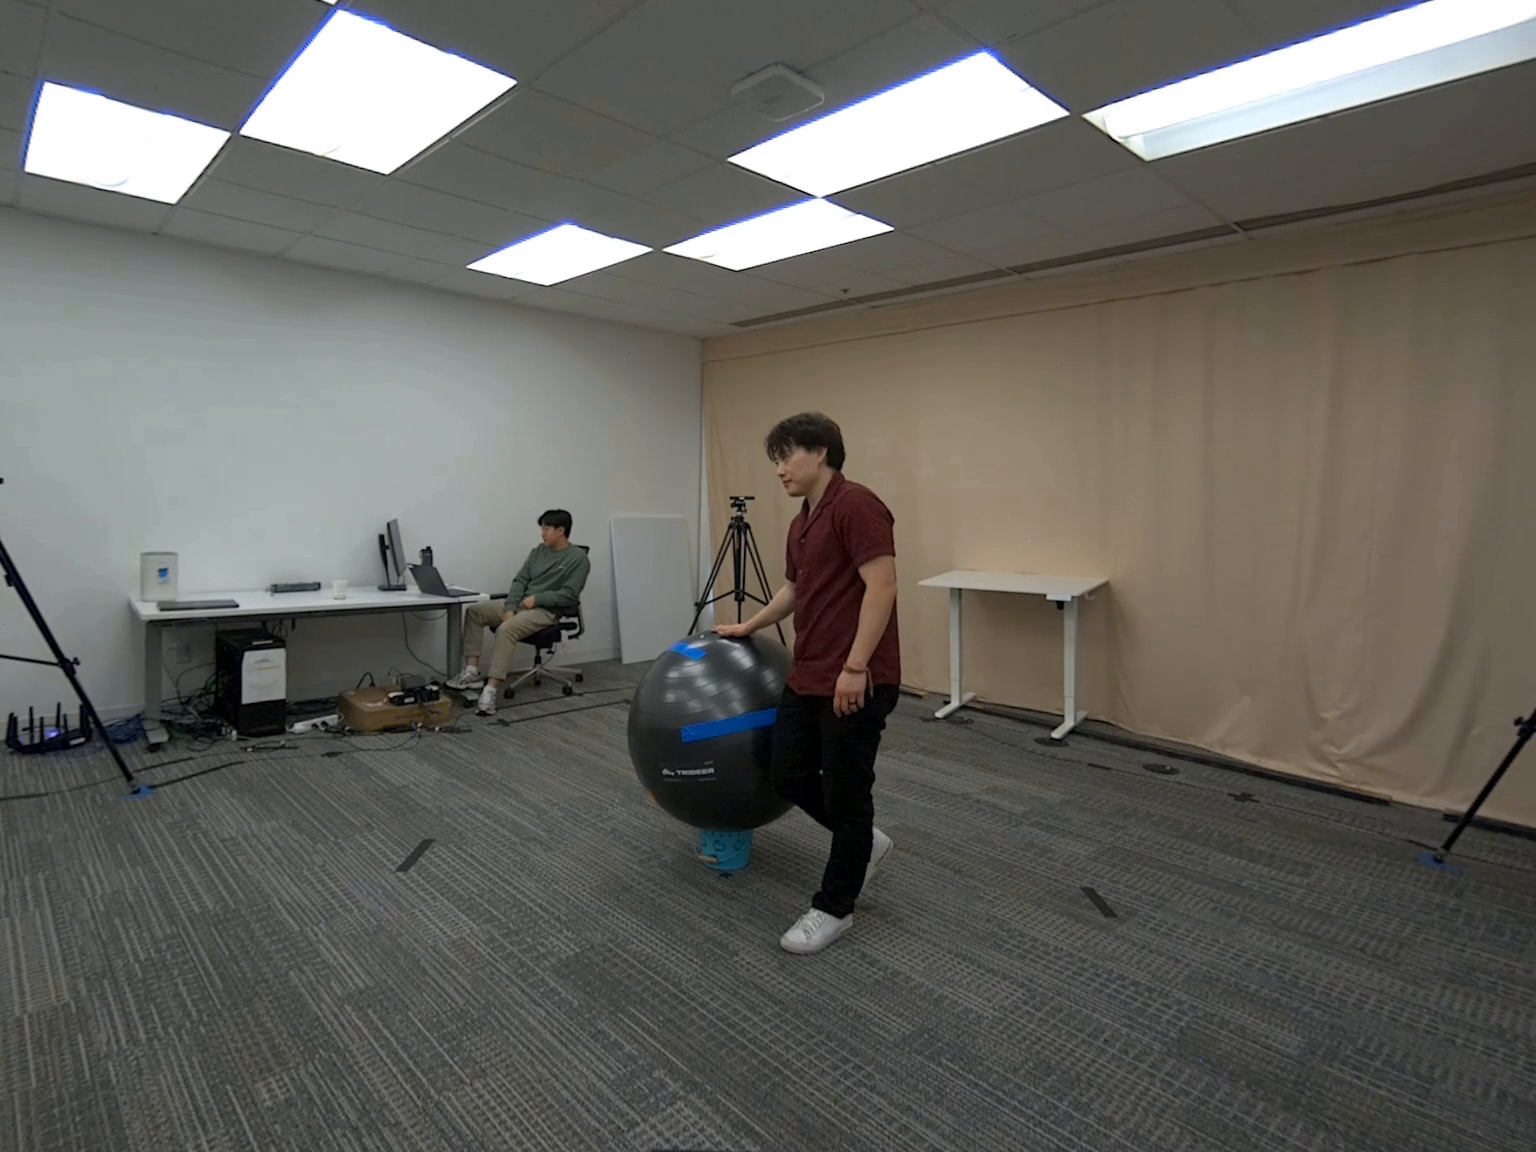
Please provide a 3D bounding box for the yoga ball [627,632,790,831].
[{"bbox_3d":[-0.158,0.582,3.207,0.757,0.756,0.761,1,4,-1],"label":"yoga ball"}]
